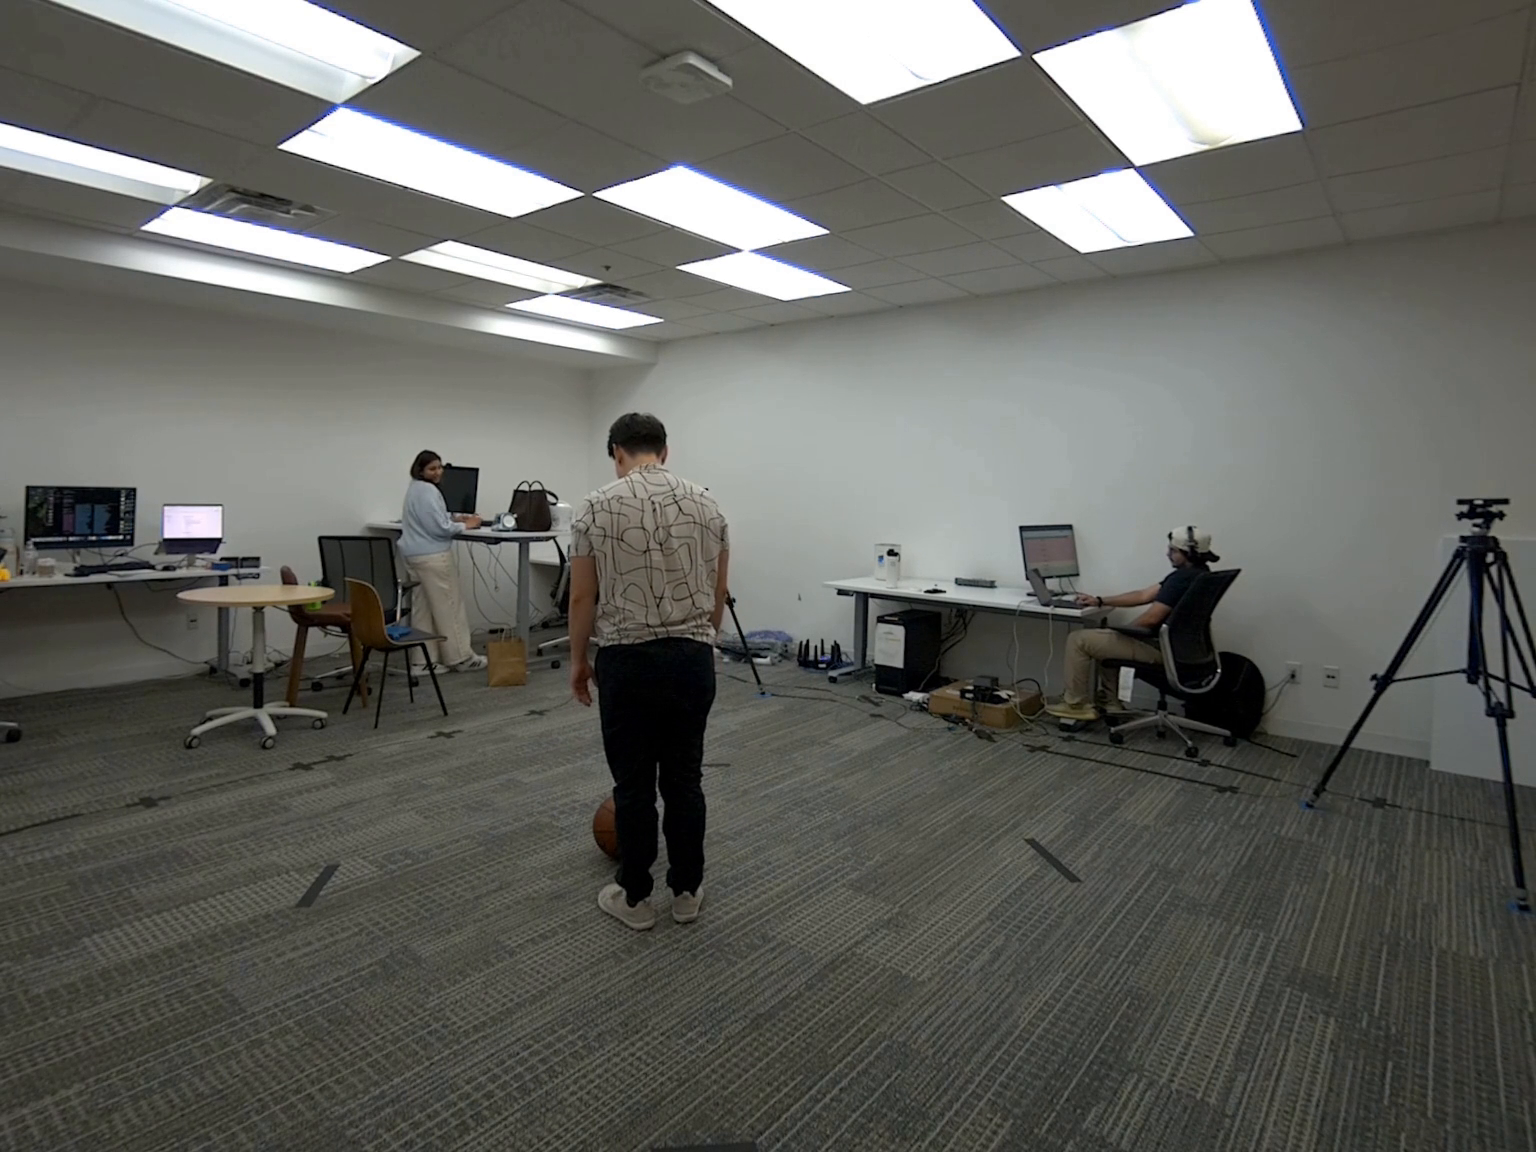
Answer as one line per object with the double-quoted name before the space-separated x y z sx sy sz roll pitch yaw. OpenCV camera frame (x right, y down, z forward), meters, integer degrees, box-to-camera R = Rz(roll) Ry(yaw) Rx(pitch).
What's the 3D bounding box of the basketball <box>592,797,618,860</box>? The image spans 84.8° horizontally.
"basketball" -0.556 0.930 3.194 0.235 0.235 0.237 1 4 -2
